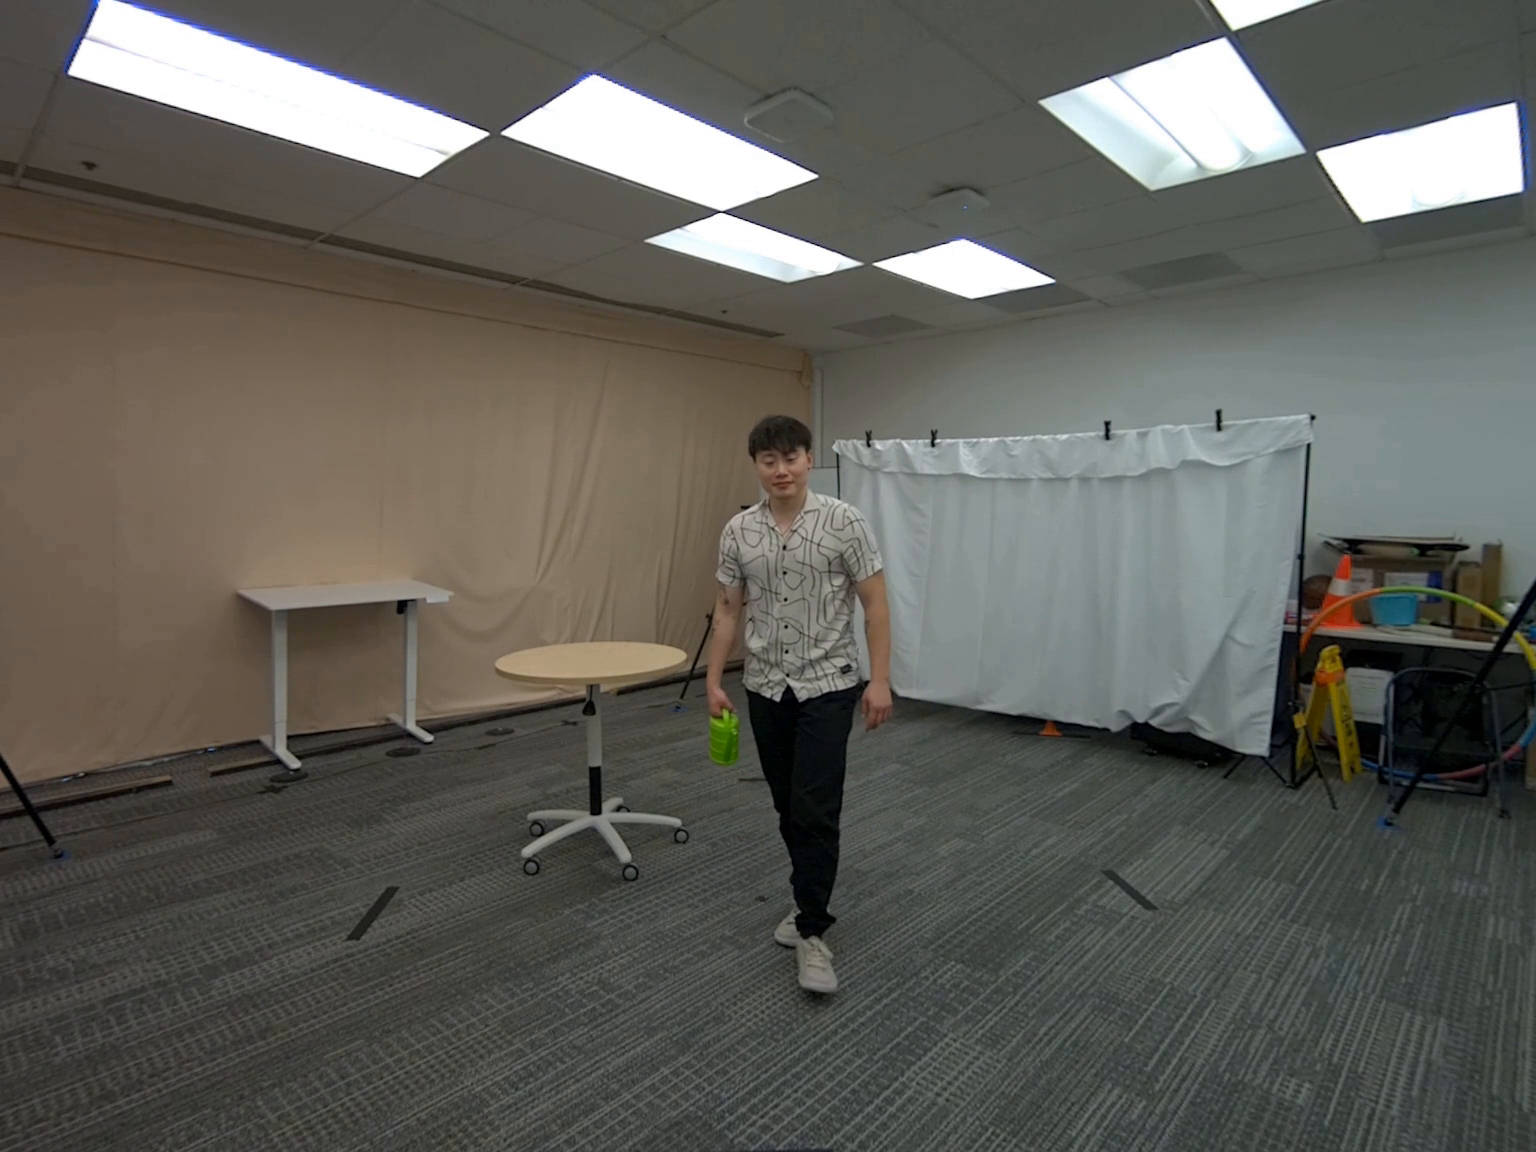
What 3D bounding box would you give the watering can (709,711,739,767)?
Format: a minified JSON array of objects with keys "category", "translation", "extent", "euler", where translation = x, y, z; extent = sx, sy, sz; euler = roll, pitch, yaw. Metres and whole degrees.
[{"category":"watering can","translation":[-0.125,0.512,2.641],"extent":[0.097,0.175,0.281],"euler":[0,13,-5]}]
